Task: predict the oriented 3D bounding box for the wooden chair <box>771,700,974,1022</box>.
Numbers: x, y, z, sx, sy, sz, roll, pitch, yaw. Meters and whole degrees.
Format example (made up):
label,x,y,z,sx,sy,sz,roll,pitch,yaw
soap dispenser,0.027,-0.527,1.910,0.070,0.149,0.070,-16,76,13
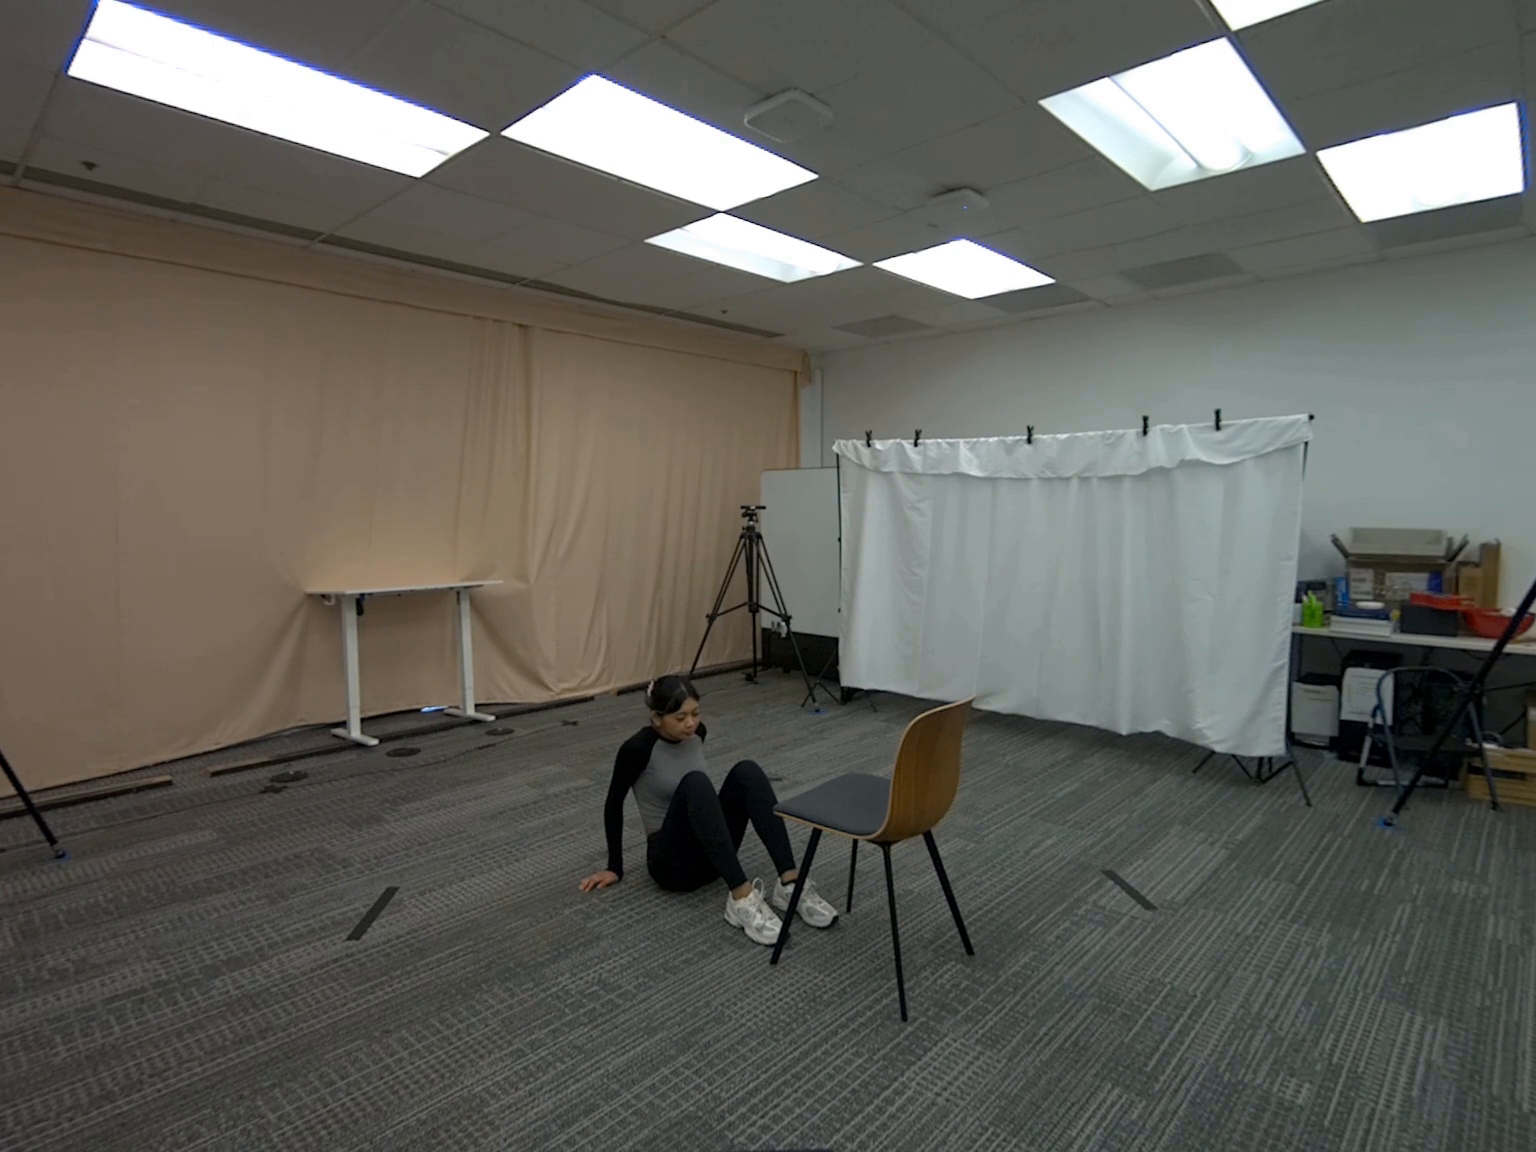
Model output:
label,x,y,z,sx,sy,sz,roll,pitch,yaw
wooden chair,0.322,0.750,2.558,0.541,0.874,0.464,8,8,38
